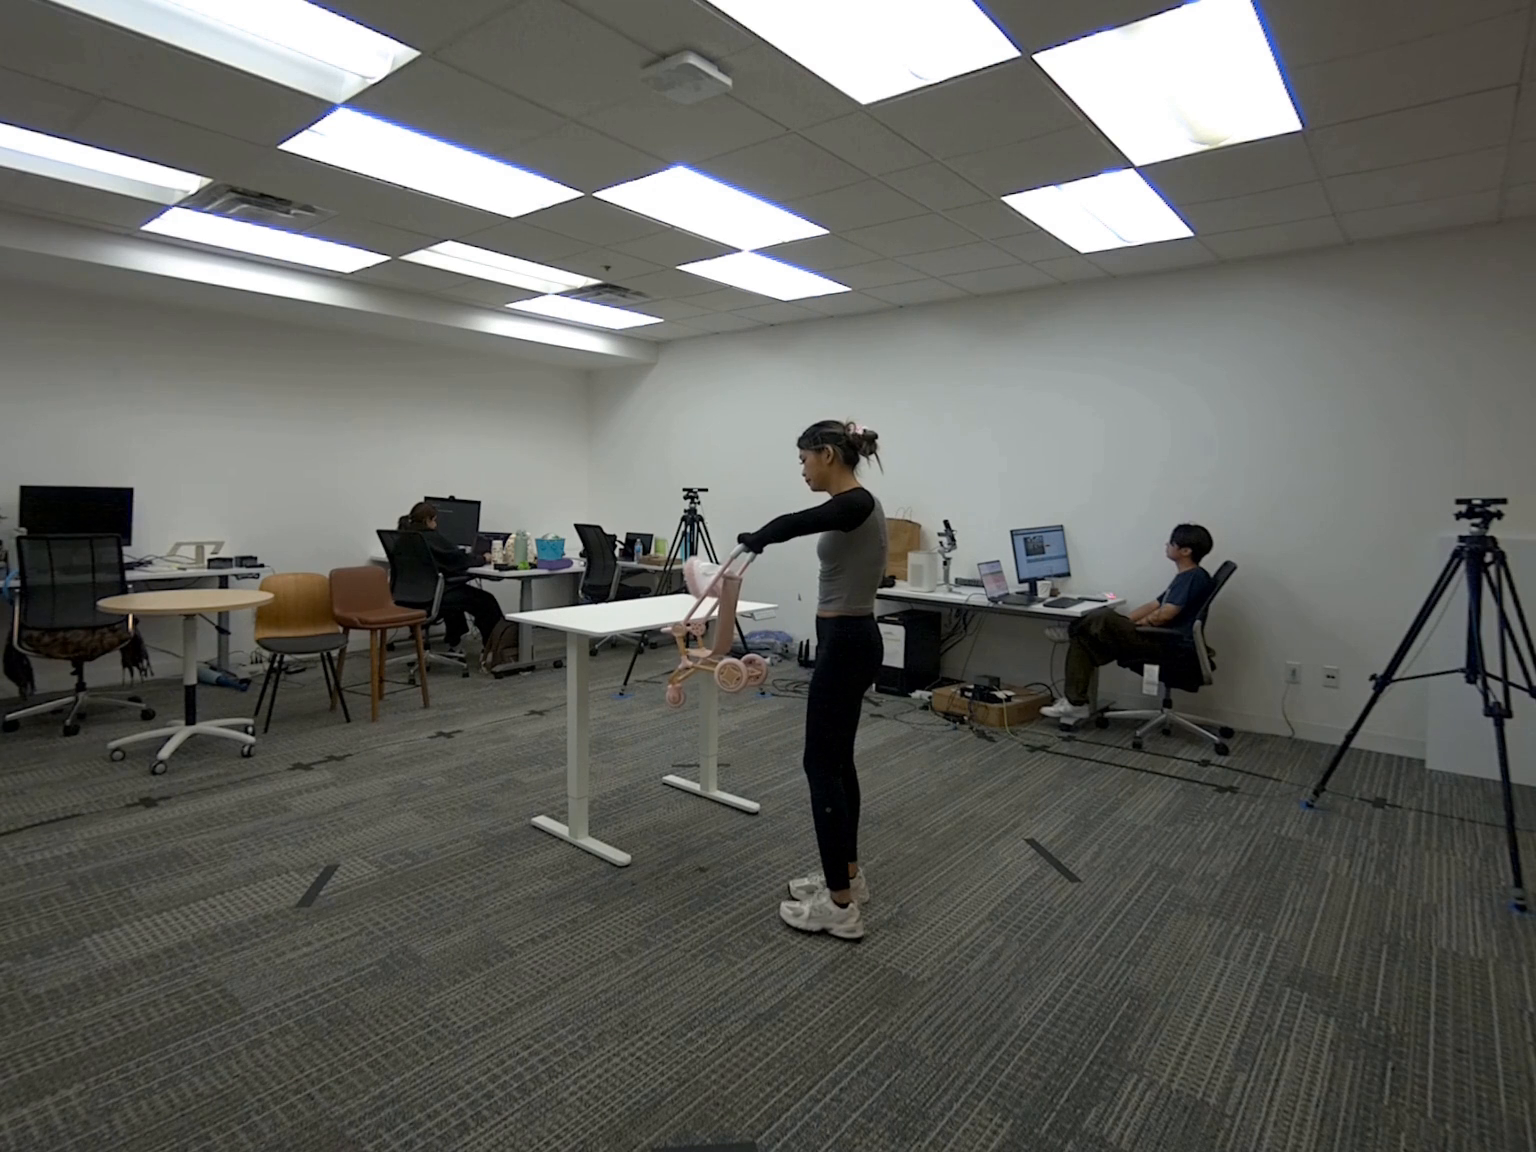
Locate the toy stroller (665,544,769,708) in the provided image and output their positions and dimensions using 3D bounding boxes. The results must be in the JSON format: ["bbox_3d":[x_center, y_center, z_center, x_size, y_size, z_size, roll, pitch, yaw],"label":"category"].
[{"bbox_3d":[-0.204,0.168,2.841,0.348,0.538,0.274,-5,-5,20],"label":"toy stroller"}]
